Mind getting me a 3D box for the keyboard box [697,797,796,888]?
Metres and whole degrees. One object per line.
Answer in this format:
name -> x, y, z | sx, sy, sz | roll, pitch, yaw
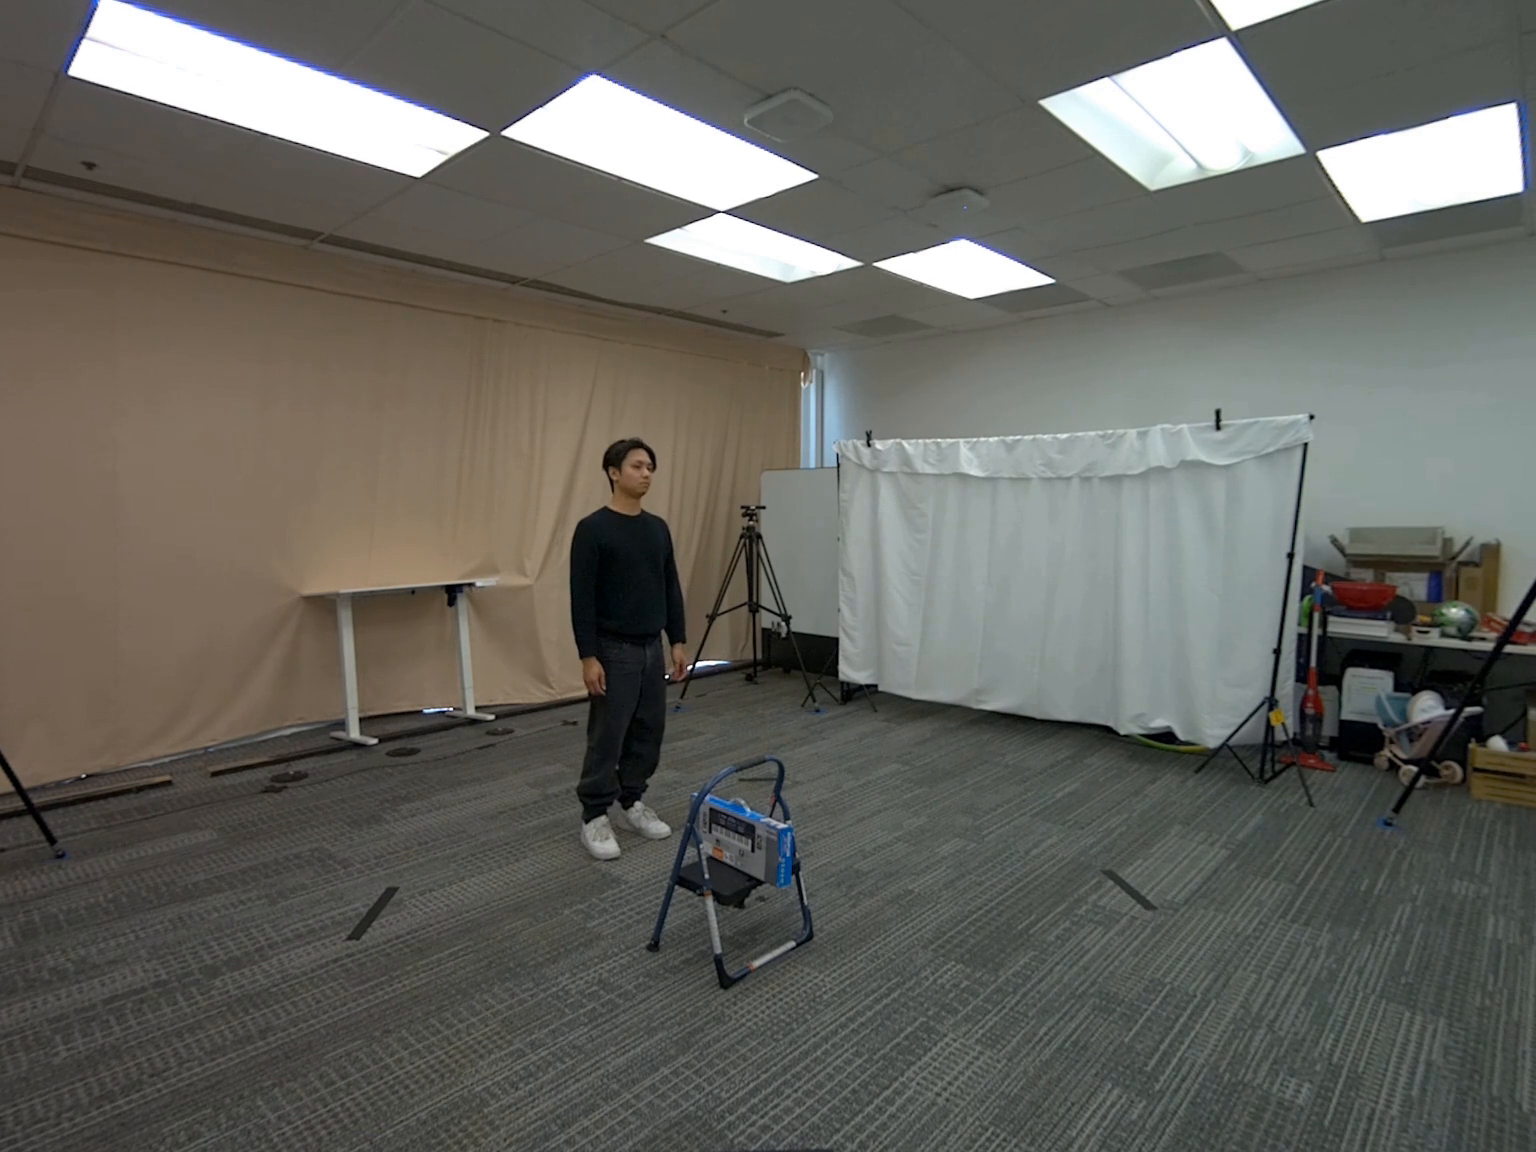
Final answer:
keyboard box -> -0.089, 0.822, 2.656 | 0.057, 0.176, 0.451 | 2, 1, -41
